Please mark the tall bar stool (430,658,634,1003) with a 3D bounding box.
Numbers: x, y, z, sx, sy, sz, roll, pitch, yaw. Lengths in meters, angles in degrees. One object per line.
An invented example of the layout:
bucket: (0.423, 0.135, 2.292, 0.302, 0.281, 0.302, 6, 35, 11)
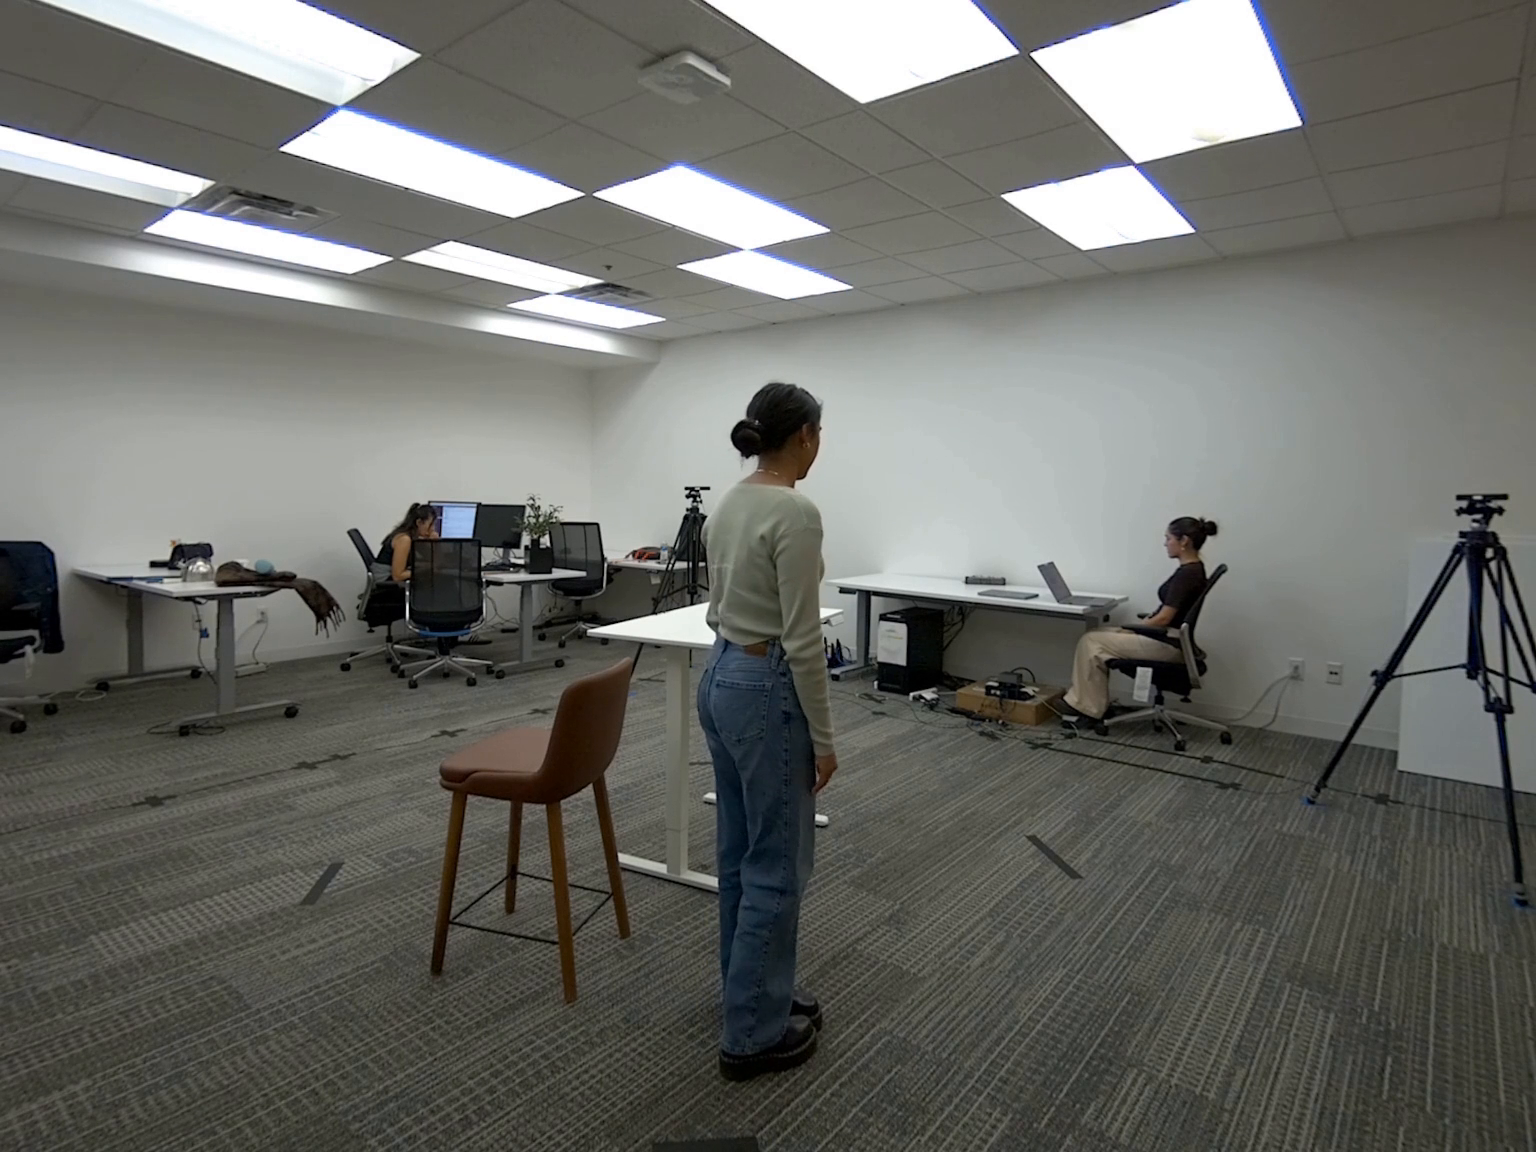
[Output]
tall bar stool: (-0.687, 0.684, 2.501, 0.477, 0.887, 0.449, 4, 4, 18)
